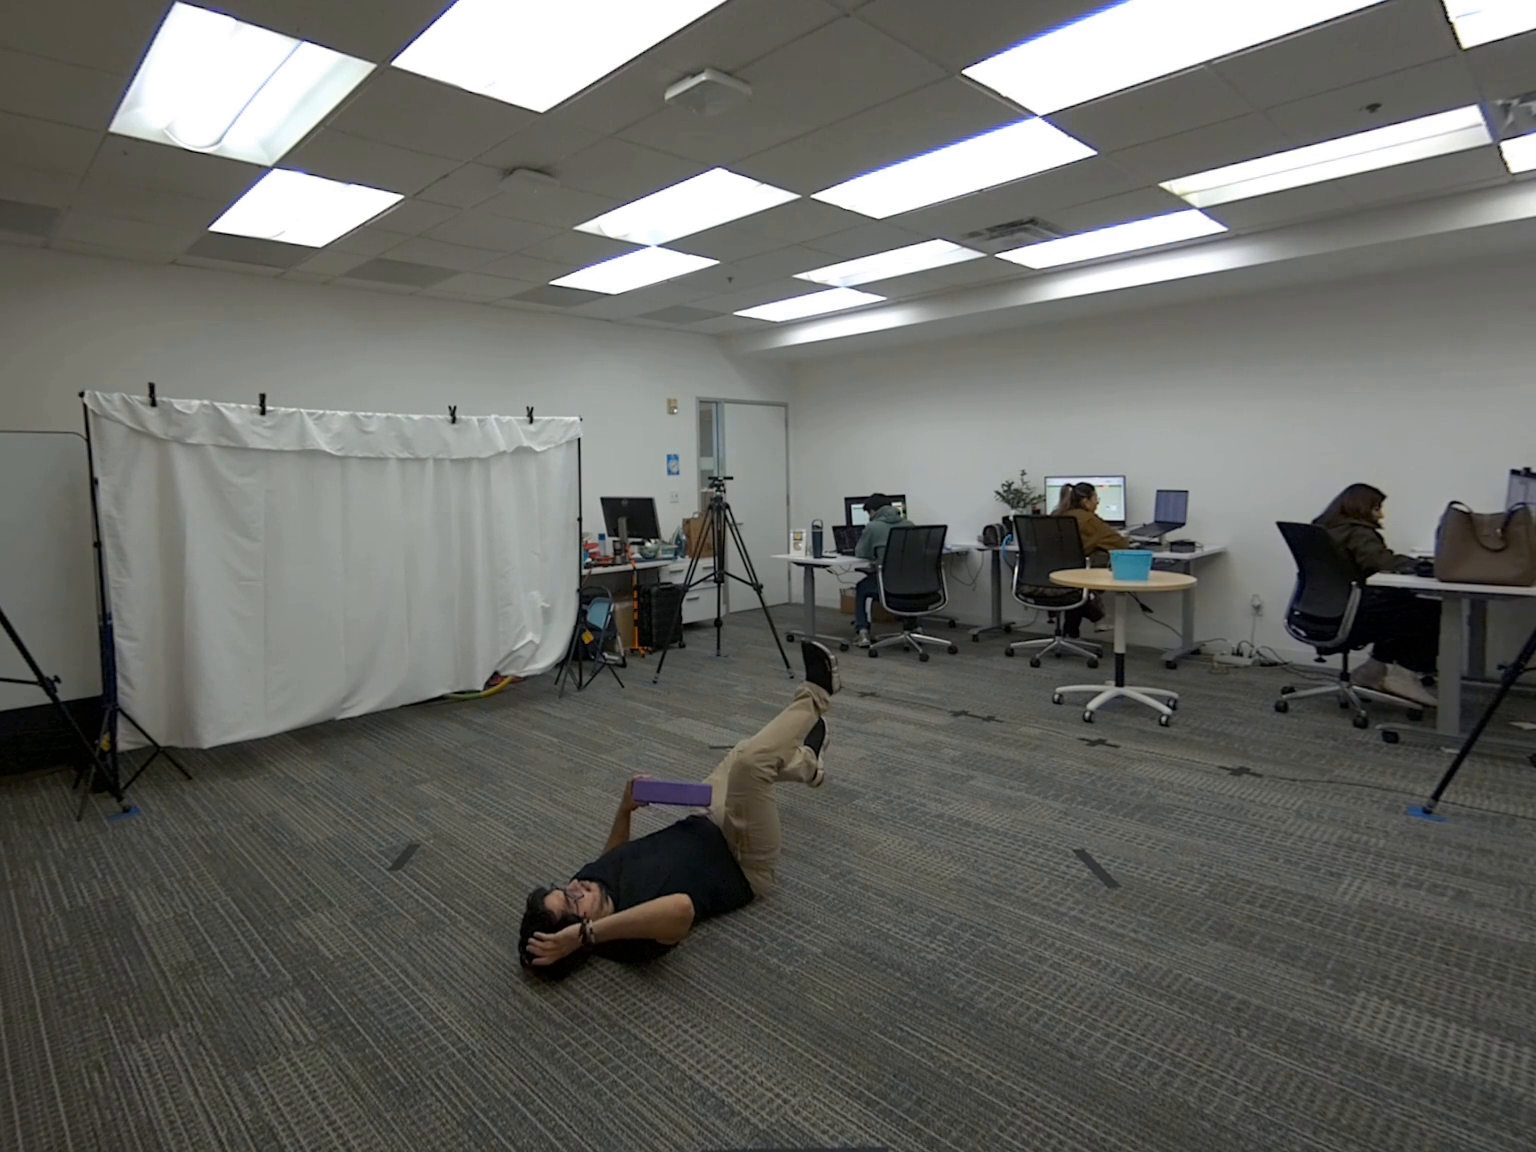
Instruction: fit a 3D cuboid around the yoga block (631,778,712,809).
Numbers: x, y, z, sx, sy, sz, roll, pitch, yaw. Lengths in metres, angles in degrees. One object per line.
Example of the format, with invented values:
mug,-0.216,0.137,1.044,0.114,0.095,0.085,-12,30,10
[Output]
yoga block,-0.308,0.731,2.849,0.234,0.077,0.144,-2,-13,24
